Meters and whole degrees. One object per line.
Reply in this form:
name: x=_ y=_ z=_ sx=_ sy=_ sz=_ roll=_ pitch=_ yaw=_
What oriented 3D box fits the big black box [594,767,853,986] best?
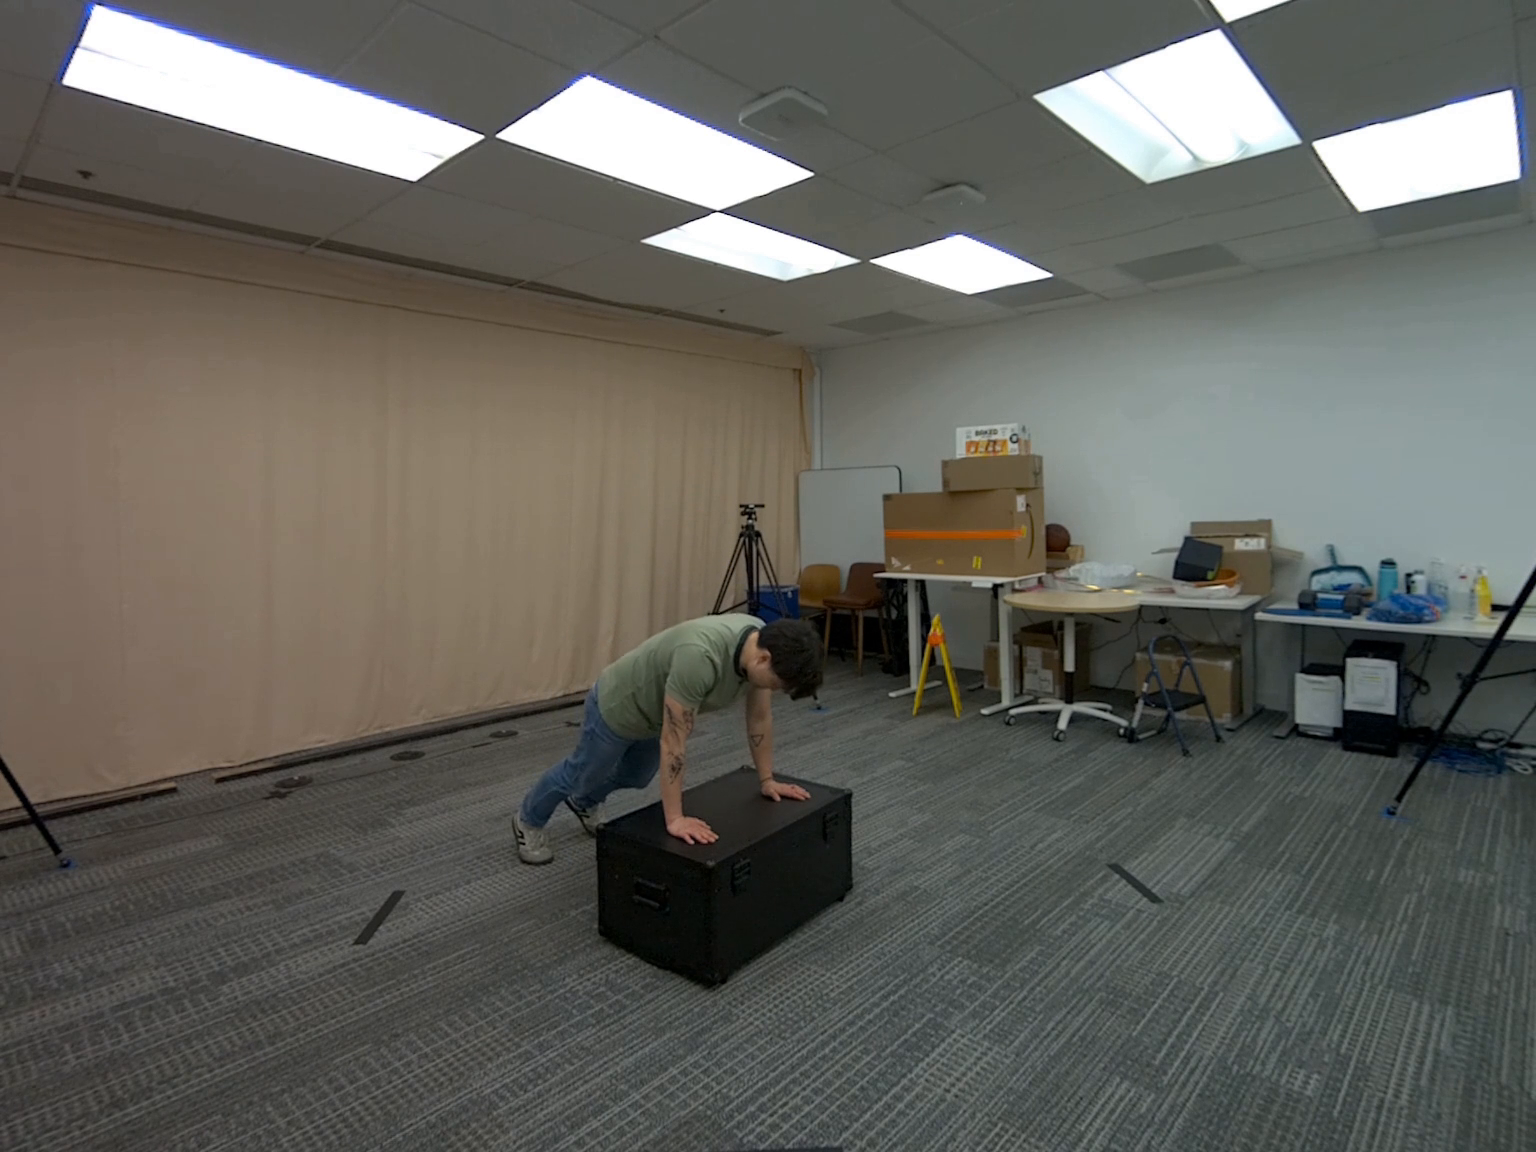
big black box: x=-0.095 y=0.966 z=2.858 sx=0.538 sy=0.395 sz=0.837 roll=2 pitch=7 yaw=38
